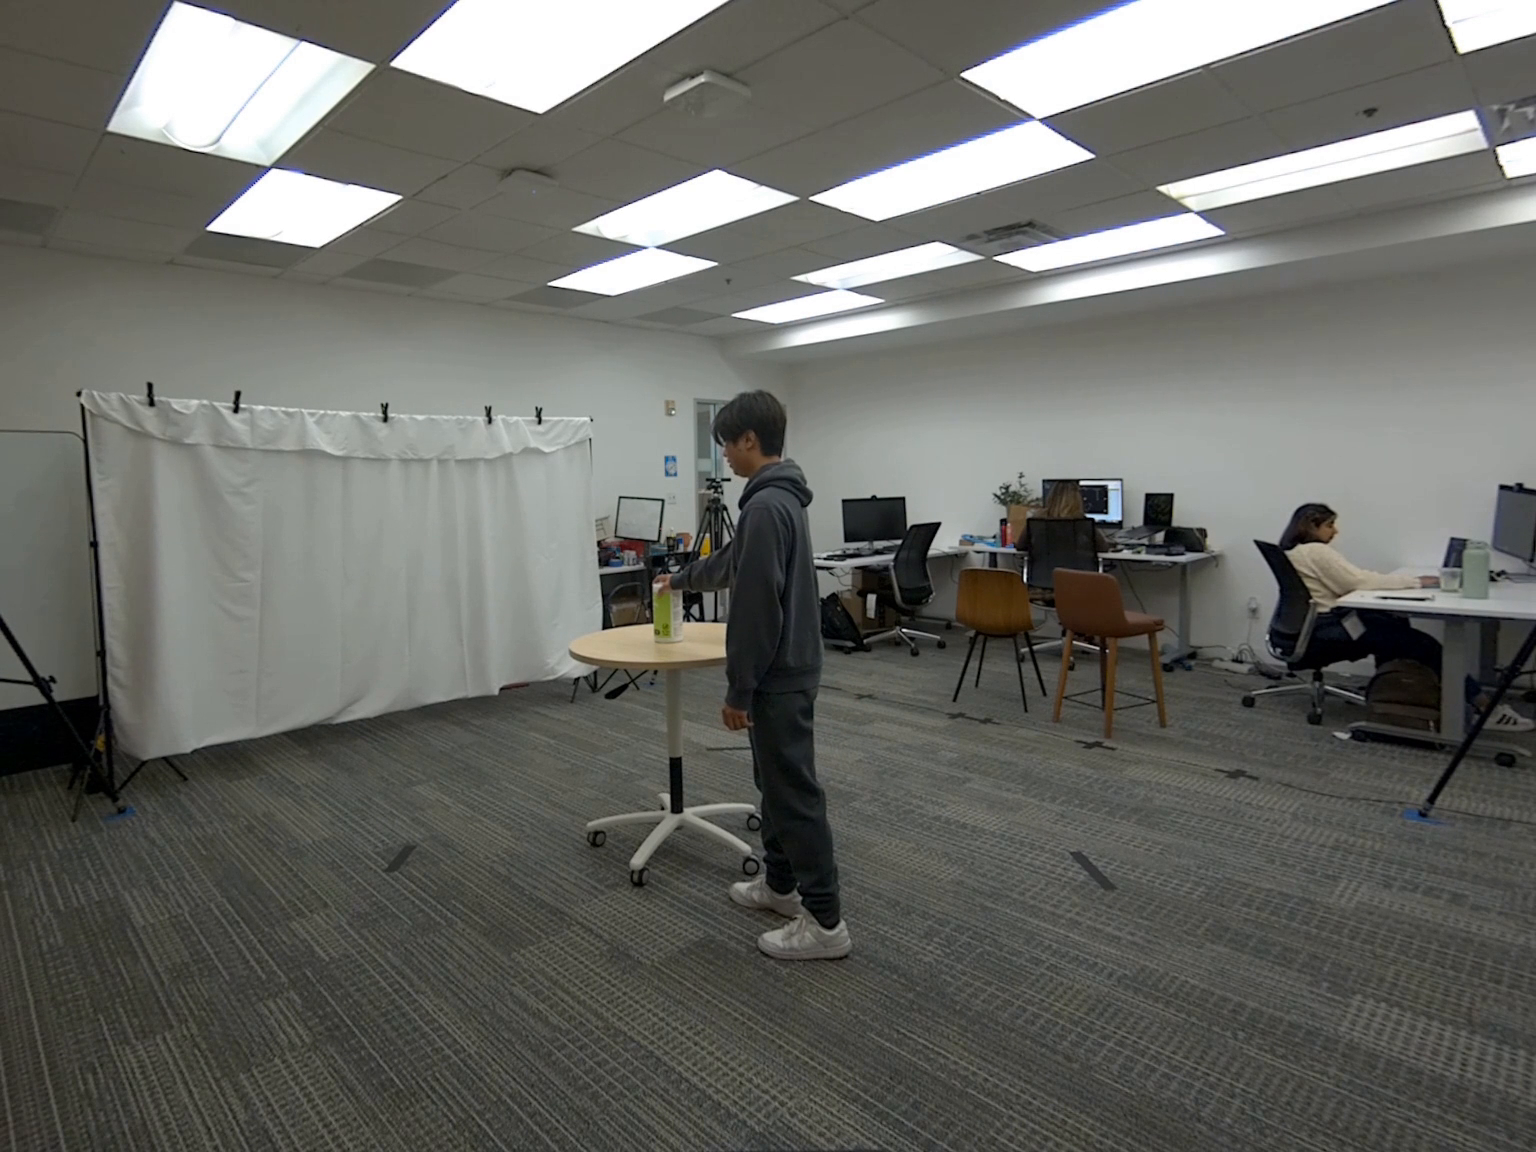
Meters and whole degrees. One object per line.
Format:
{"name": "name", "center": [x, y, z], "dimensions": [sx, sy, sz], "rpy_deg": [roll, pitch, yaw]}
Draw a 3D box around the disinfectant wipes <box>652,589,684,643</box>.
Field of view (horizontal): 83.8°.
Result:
{"name": "disinfectant wipes", "center": [-0.371, 0.137, 3.184], "dimensions": [0.118, 0.216, 0.118], "rpy_deg": [-1, 5, -2]}
